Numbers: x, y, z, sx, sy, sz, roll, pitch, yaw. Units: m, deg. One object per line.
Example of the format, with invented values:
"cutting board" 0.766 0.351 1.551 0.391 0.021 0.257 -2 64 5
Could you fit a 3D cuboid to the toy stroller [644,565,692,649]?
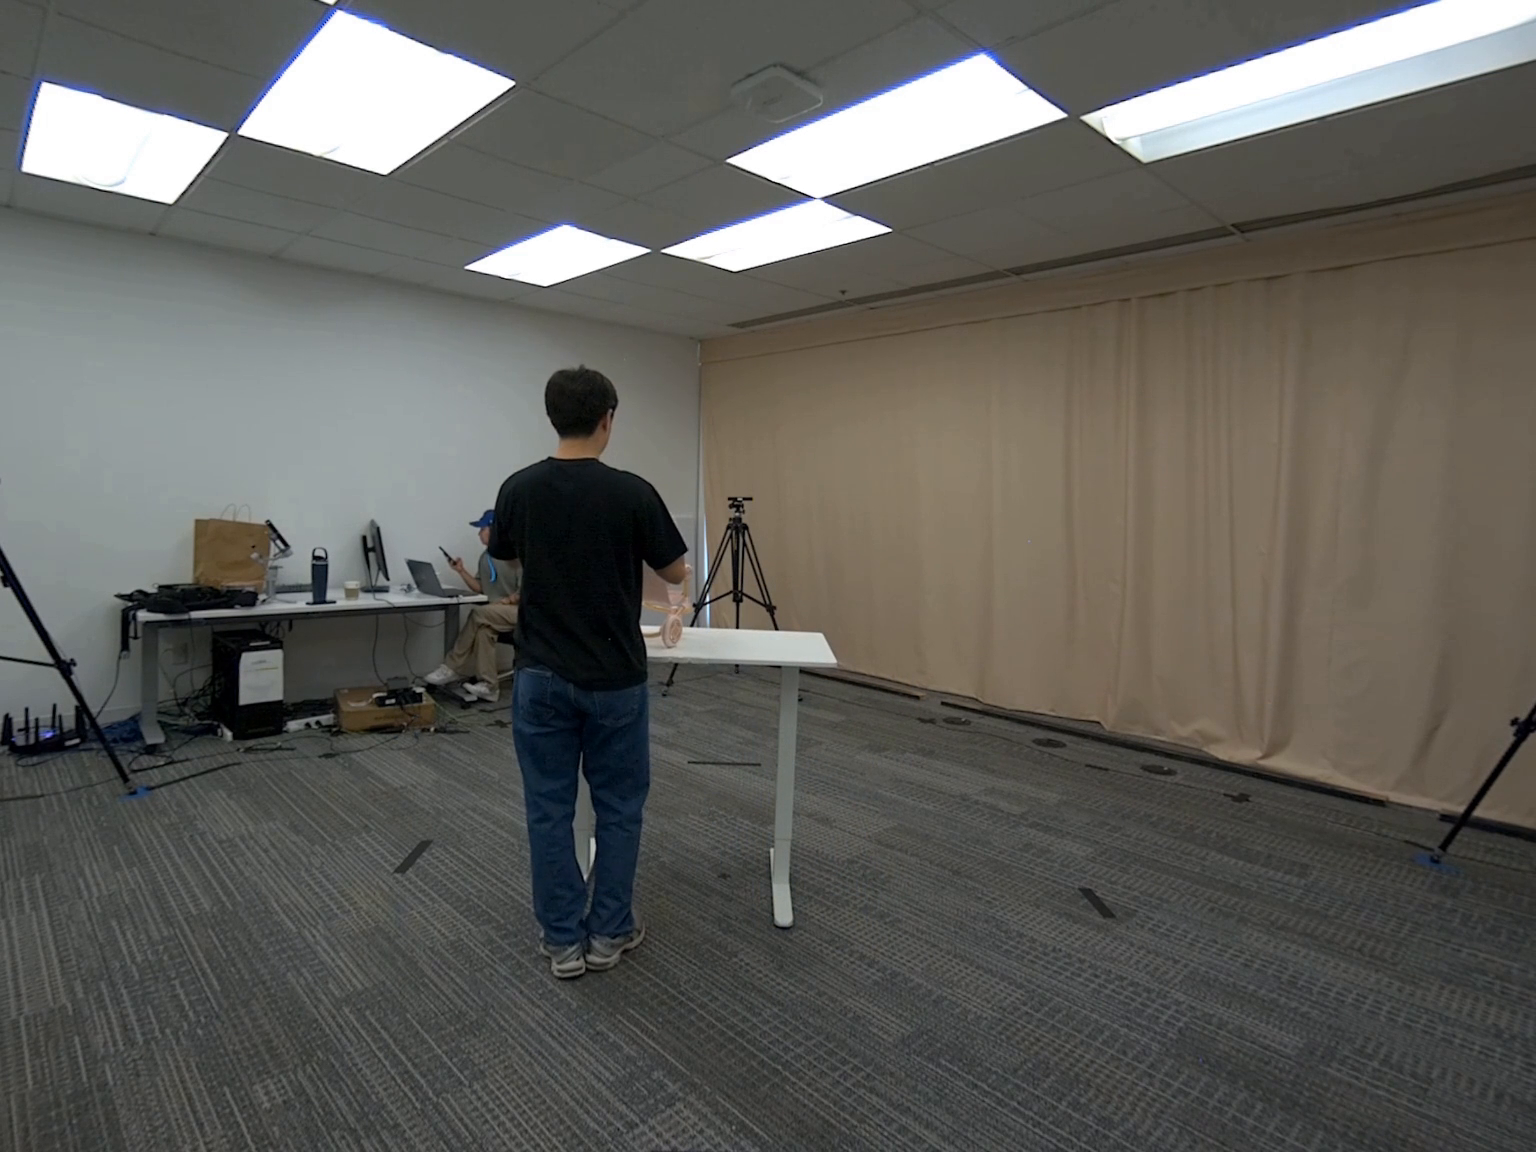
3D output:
"toy stroller" -0.402 0.003 2.956 0.287 0.529 0.338 5 16 27
